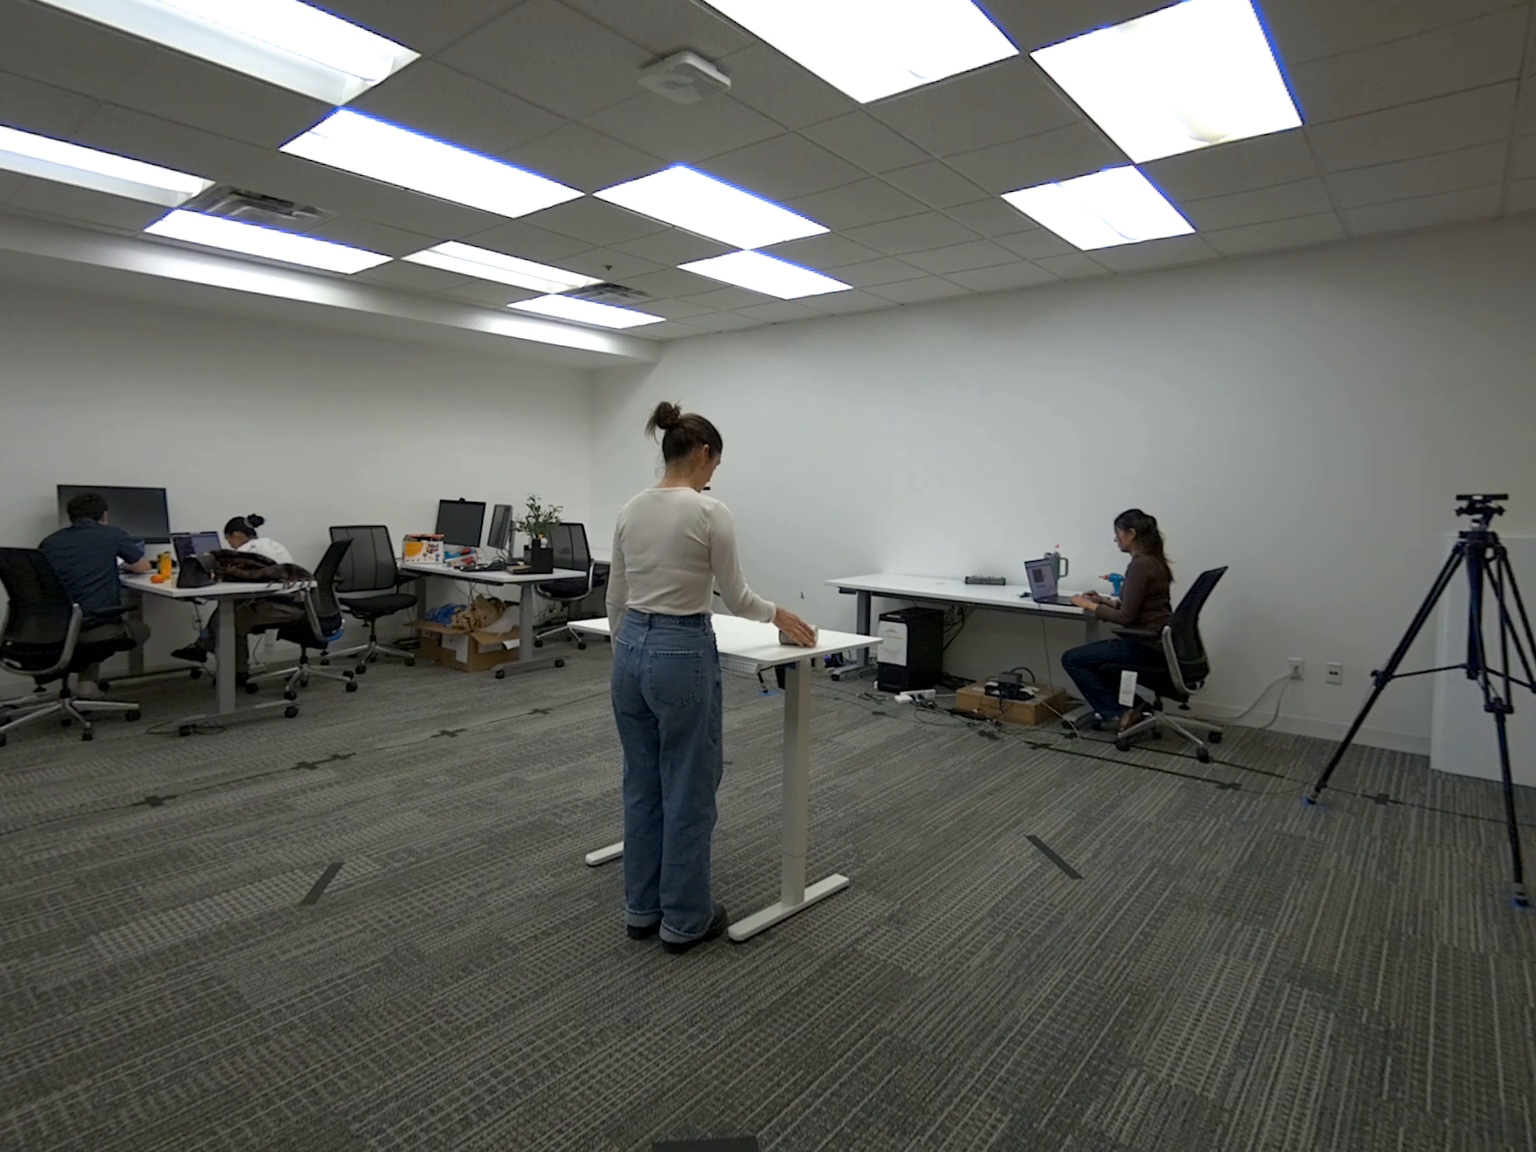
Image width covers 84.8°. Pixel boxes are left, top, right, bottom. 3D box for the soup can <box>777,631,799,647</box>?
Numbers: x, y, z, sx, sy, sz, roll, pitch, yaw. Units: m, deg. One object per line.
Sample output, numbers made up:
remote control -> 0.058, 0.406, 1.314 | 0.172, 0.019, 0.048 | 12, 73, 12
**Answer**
soup can -> 0.090, 0.185, 2.756 | 0.122, 0.067, 0.067 | -4, 3, 8
